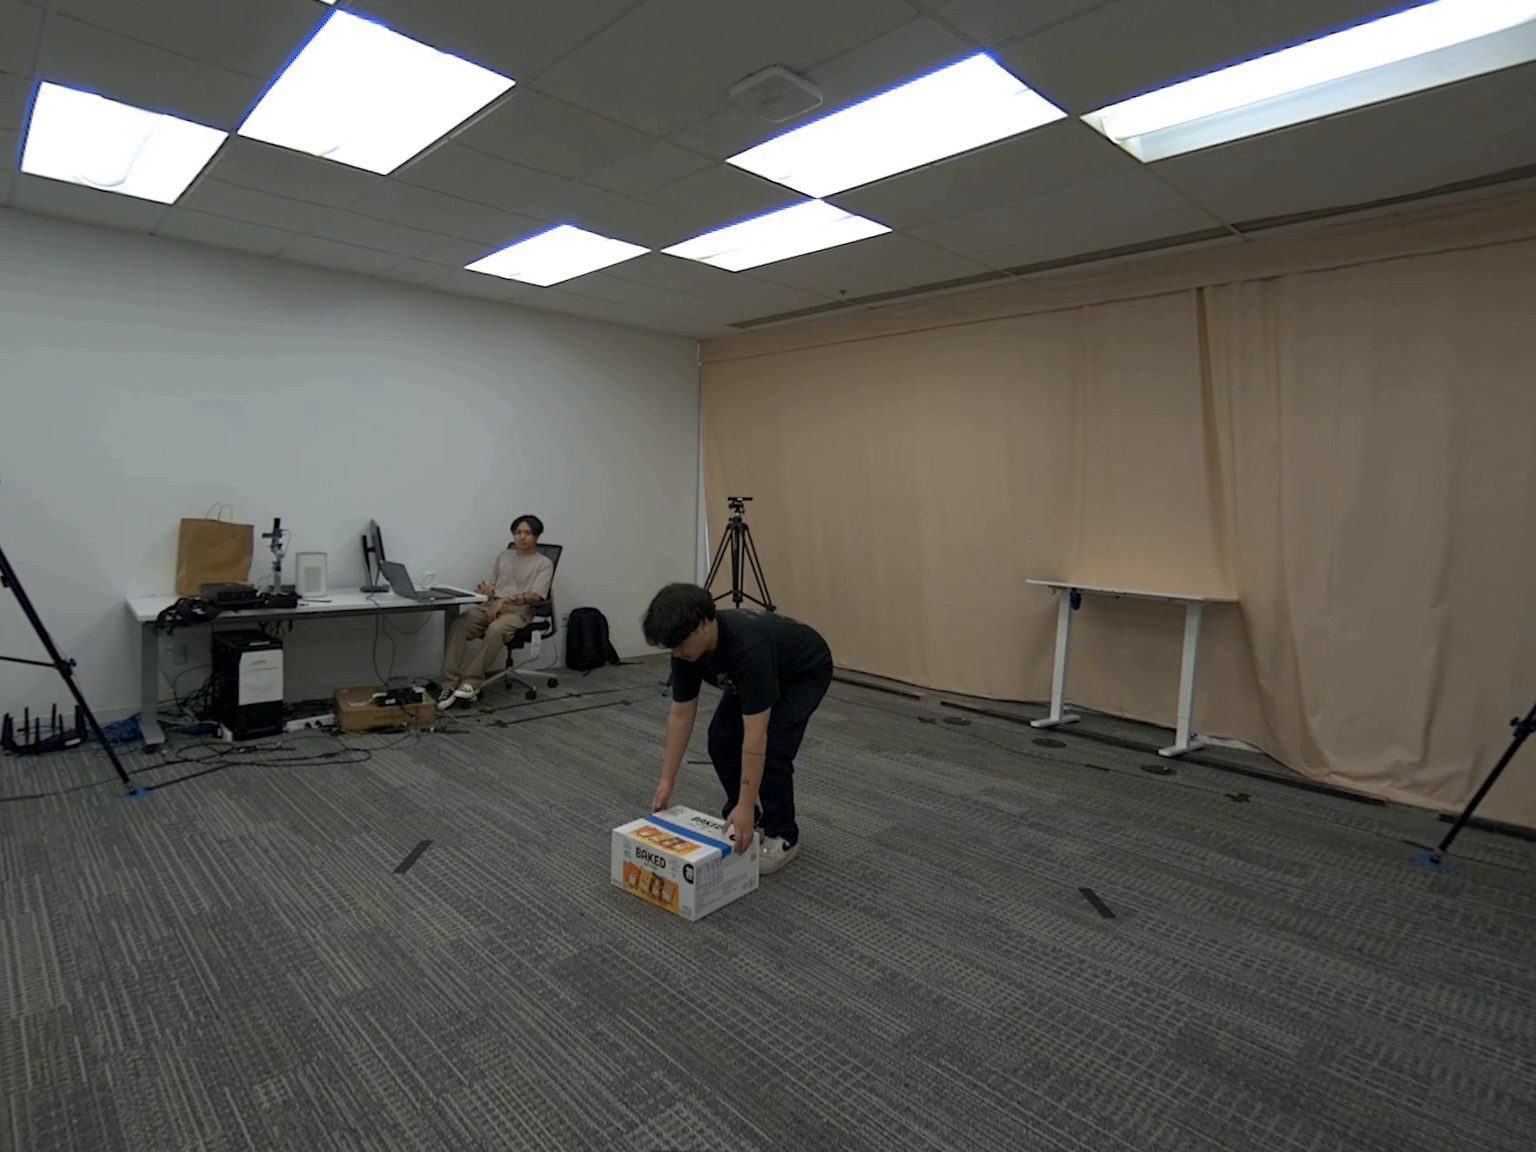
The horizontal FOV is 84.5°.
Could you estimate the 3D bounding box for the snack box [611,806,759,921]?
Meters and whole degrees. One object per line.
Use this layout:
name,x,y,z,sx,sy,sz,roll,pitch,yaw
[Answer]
snack box,-0.300,1.012,3.001,0.415,0.205,0.333,5,6,39
